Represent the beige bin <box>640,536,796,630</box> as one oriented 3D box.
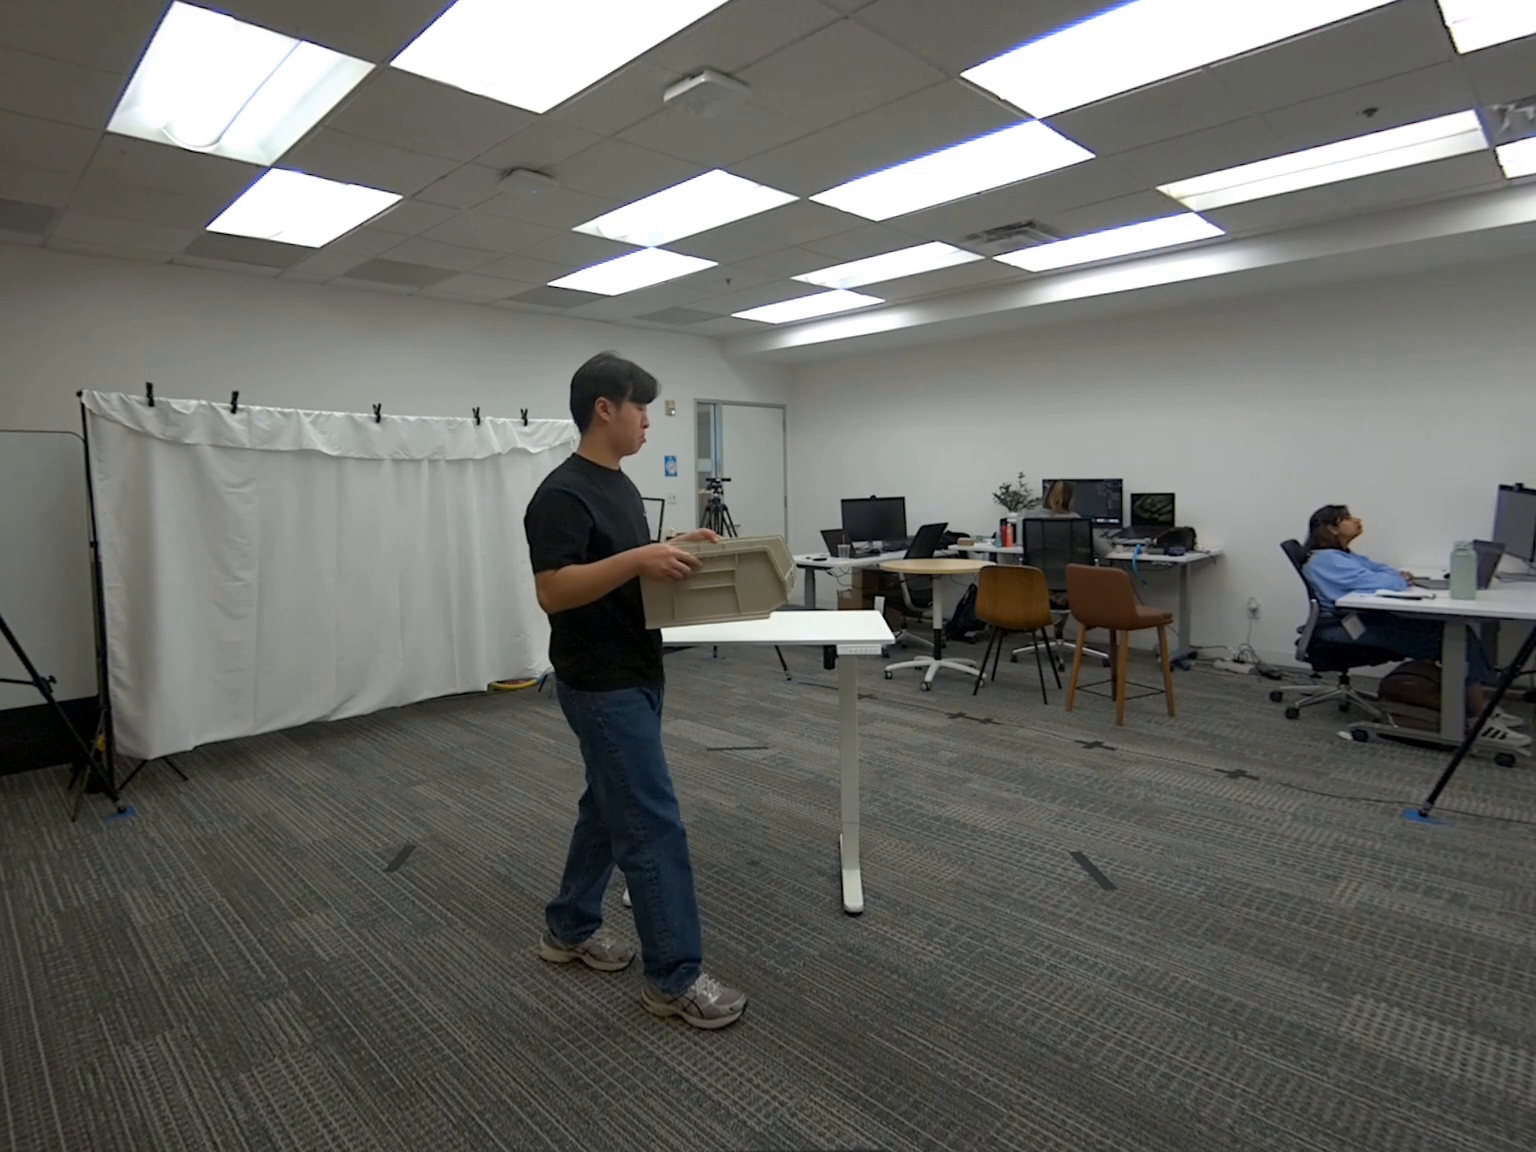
[{"bbox_3d":[-0.126,0.007,2.308,0.380,0.188,0.422,-6,7,7],"label":"beige bin"}]
